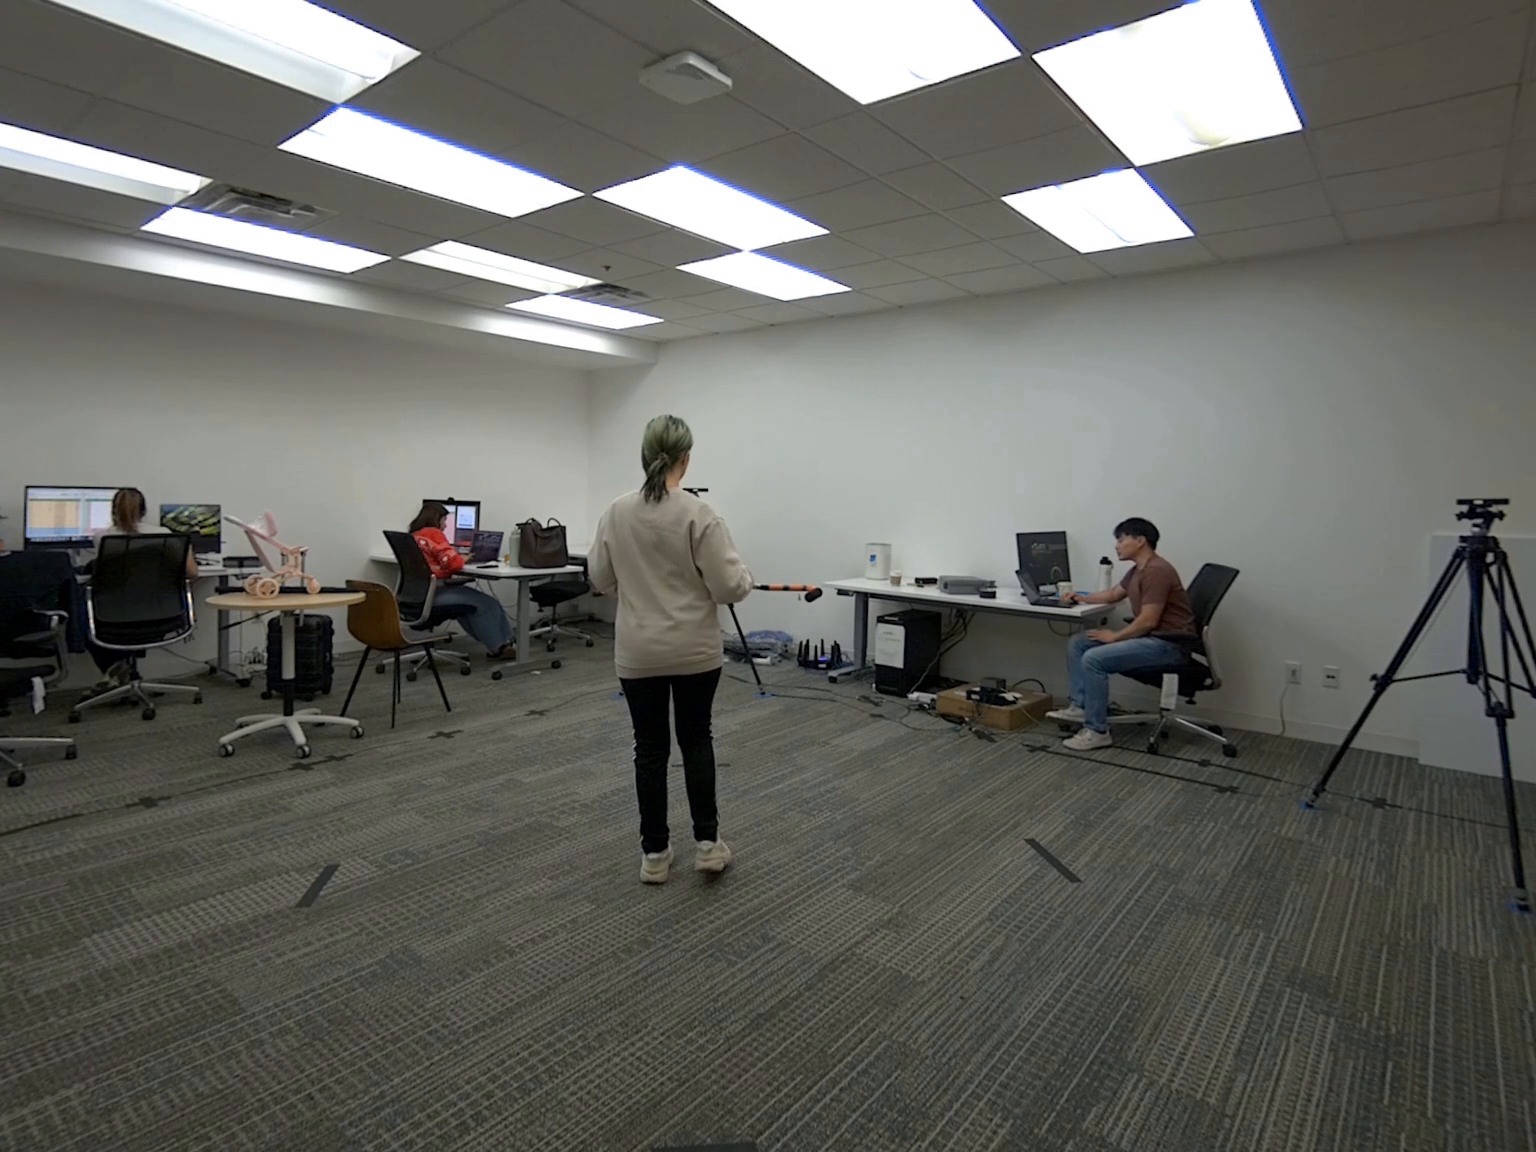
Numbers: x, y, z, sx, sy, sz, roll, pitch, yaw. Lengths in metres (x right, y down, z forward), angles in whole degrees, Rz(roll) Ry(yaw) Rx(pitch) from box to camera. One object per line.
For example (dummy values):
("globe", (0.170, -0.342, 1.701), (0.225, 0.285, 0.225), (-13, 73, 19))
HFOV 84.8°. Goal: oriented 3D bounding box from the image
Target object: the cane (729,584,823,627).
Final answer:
("cane", (-0.229, 0.028, 3.279), (0.931, 0.151, 0.202), (5, 8, 23))
